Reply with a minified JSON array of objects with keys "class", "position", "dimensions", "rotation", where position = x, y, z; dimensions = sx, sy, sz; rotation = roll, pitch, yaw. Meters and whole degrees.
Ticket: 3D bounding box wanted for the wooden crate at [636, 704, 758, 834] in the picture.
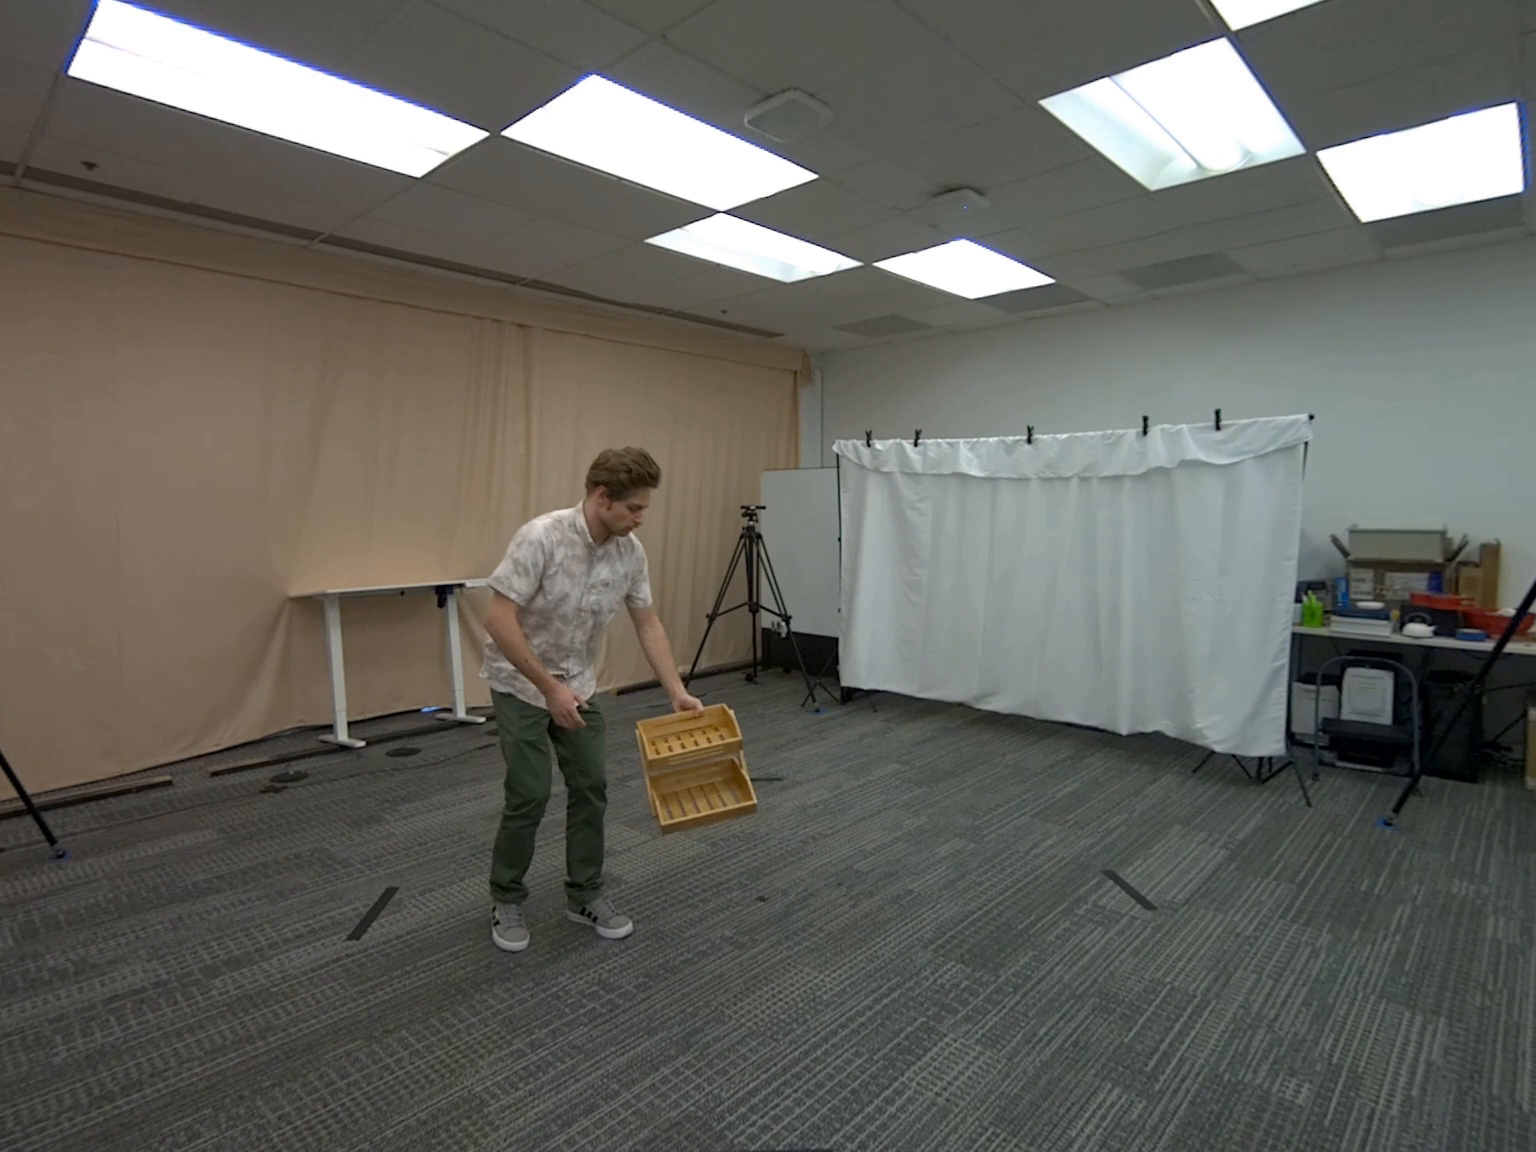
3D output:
[{"class":"wooden crate","position":[-0.231,0.598,2.646],"dimensions":[0.320,0.271,0.308],"rotation":[-9,11,-14]}]
